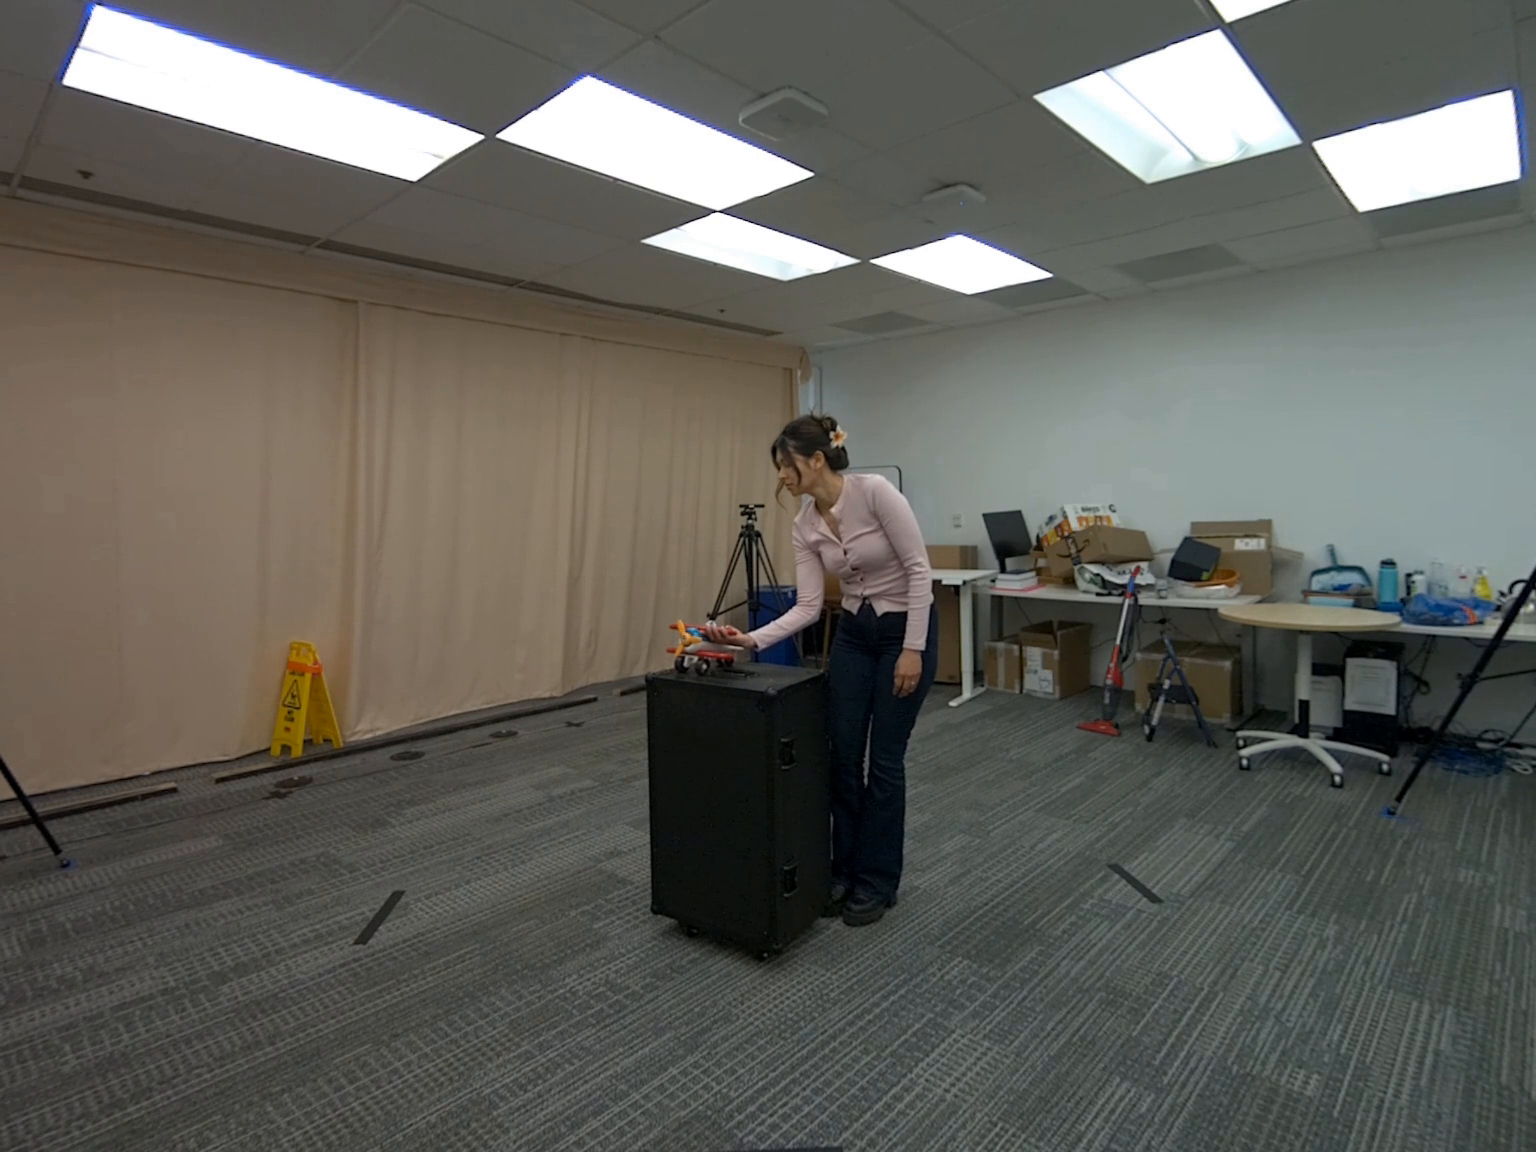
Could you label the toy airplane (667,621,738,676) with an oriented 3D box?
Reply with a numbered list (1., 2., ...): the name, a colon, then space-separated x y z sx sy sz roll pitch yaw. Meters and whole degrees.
1. toy airplane: -0.212 0.241 2.789 0.254 0.156 0.257 1 4 8
